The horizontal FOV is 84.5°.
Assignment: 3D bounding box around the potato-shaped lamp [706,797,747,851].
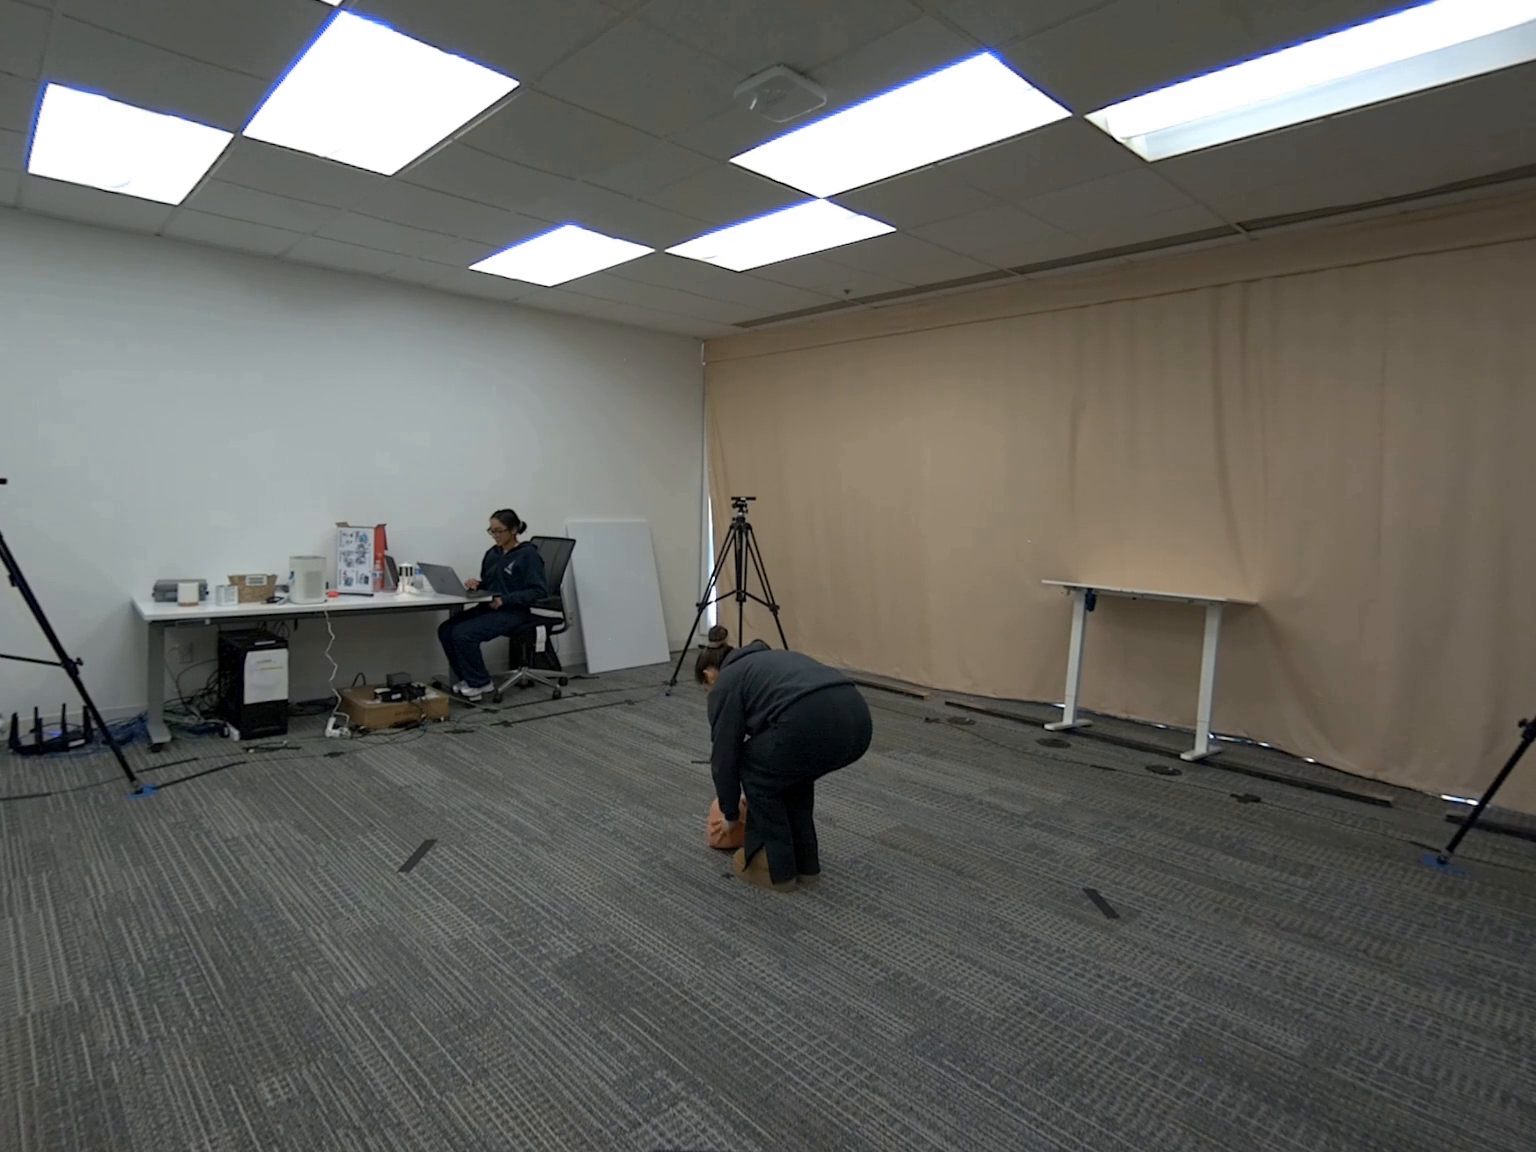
[{"bbox_3d":[-0.171,0.976,3.367,0.164,0.170,0.200,20,29,-3],"label":"potato-shaped lamp"}]
